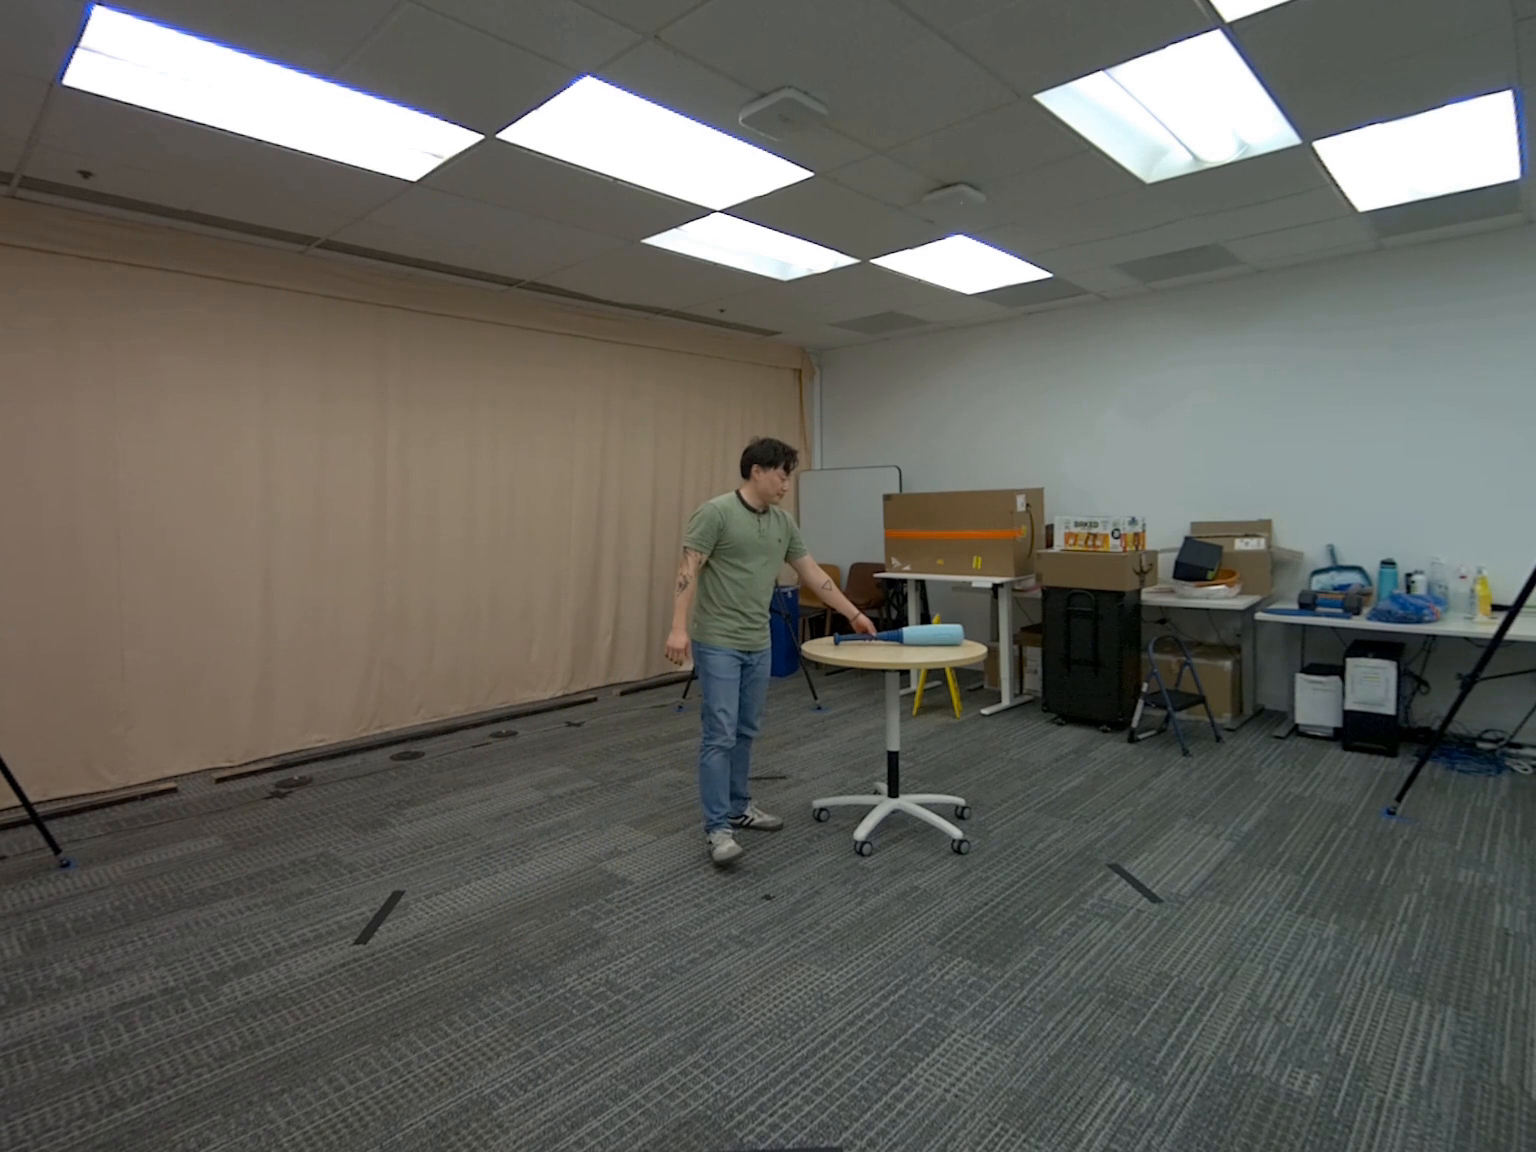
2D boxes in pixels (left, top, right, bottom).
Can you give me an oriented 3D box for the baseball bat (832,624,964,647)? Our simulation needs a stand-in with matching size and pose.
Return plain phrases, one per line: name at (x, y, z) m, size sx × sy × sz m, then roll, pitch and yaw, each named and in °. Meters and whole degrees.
baseball bat at (0.558, 0.259, 3.585) m, size 0.548 × 0.089 × 0.088 m, roll -2°, pitch 4°, yaw 8°
